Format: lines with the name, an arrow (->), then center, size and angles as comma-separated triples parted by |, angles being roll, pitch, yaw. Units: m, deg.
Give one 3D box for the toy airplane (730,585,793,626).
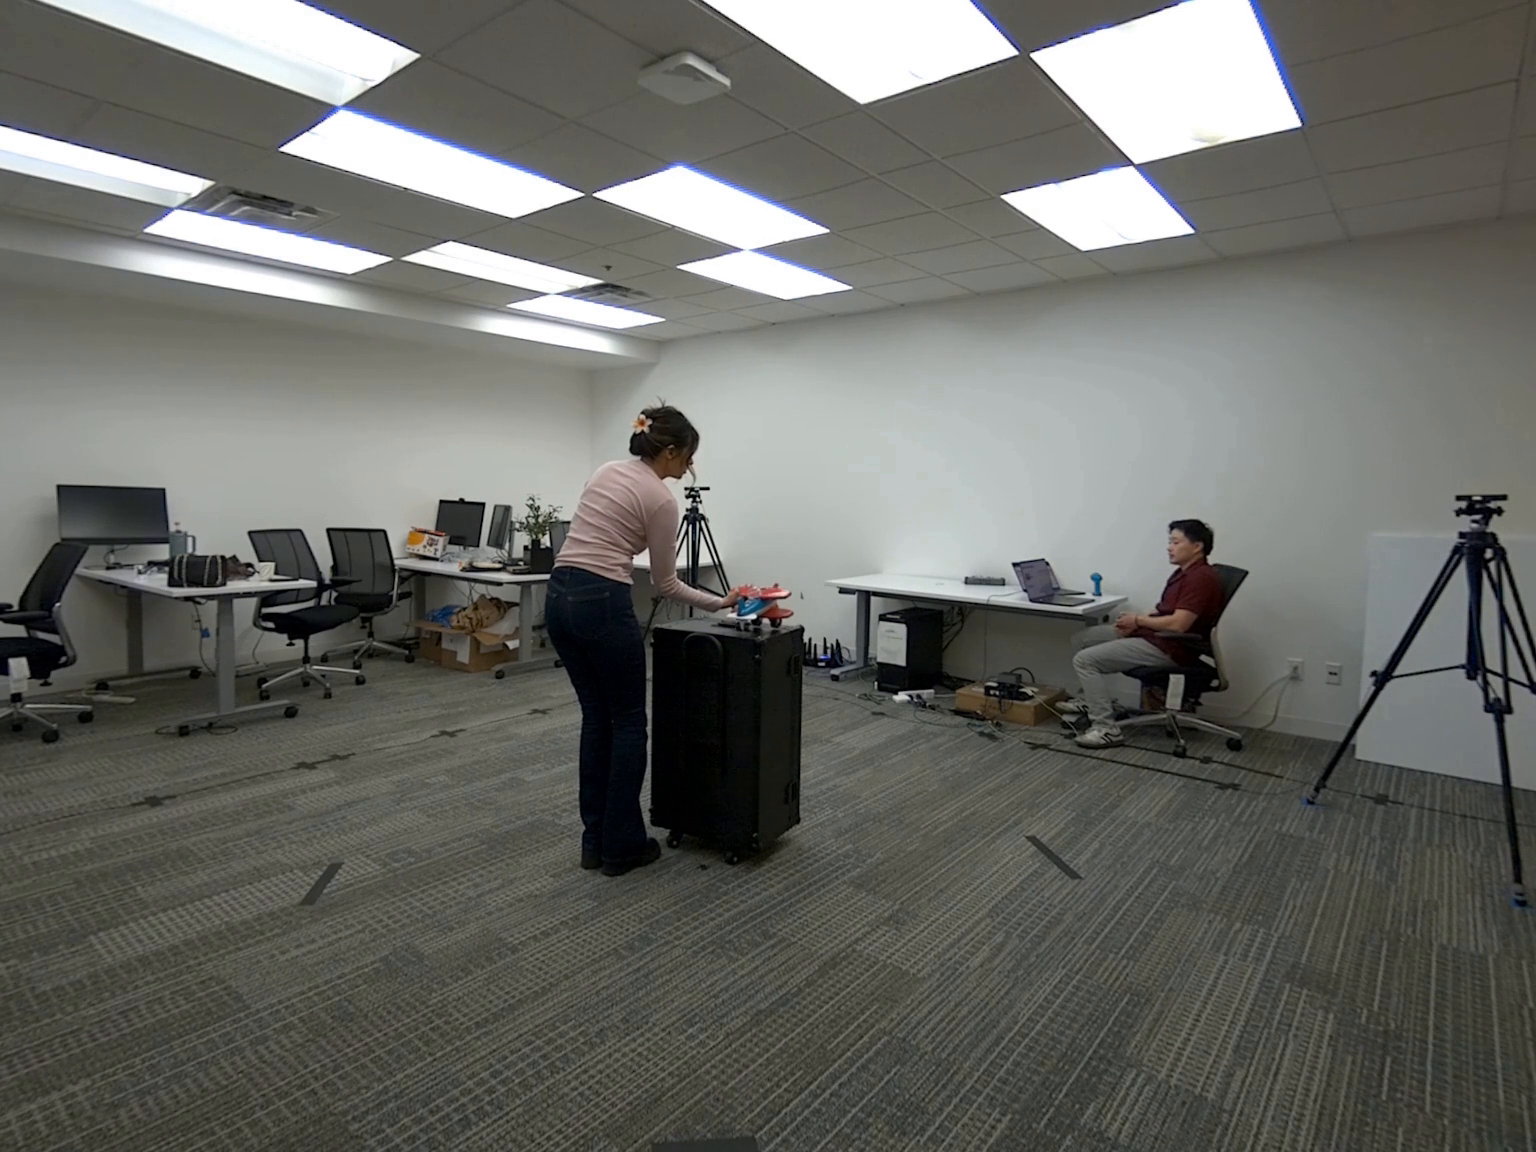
toy airplane -> -0.037, 0.128, 3.232 | 0.252, 0.156, 0.259 | -1, 4, 3
